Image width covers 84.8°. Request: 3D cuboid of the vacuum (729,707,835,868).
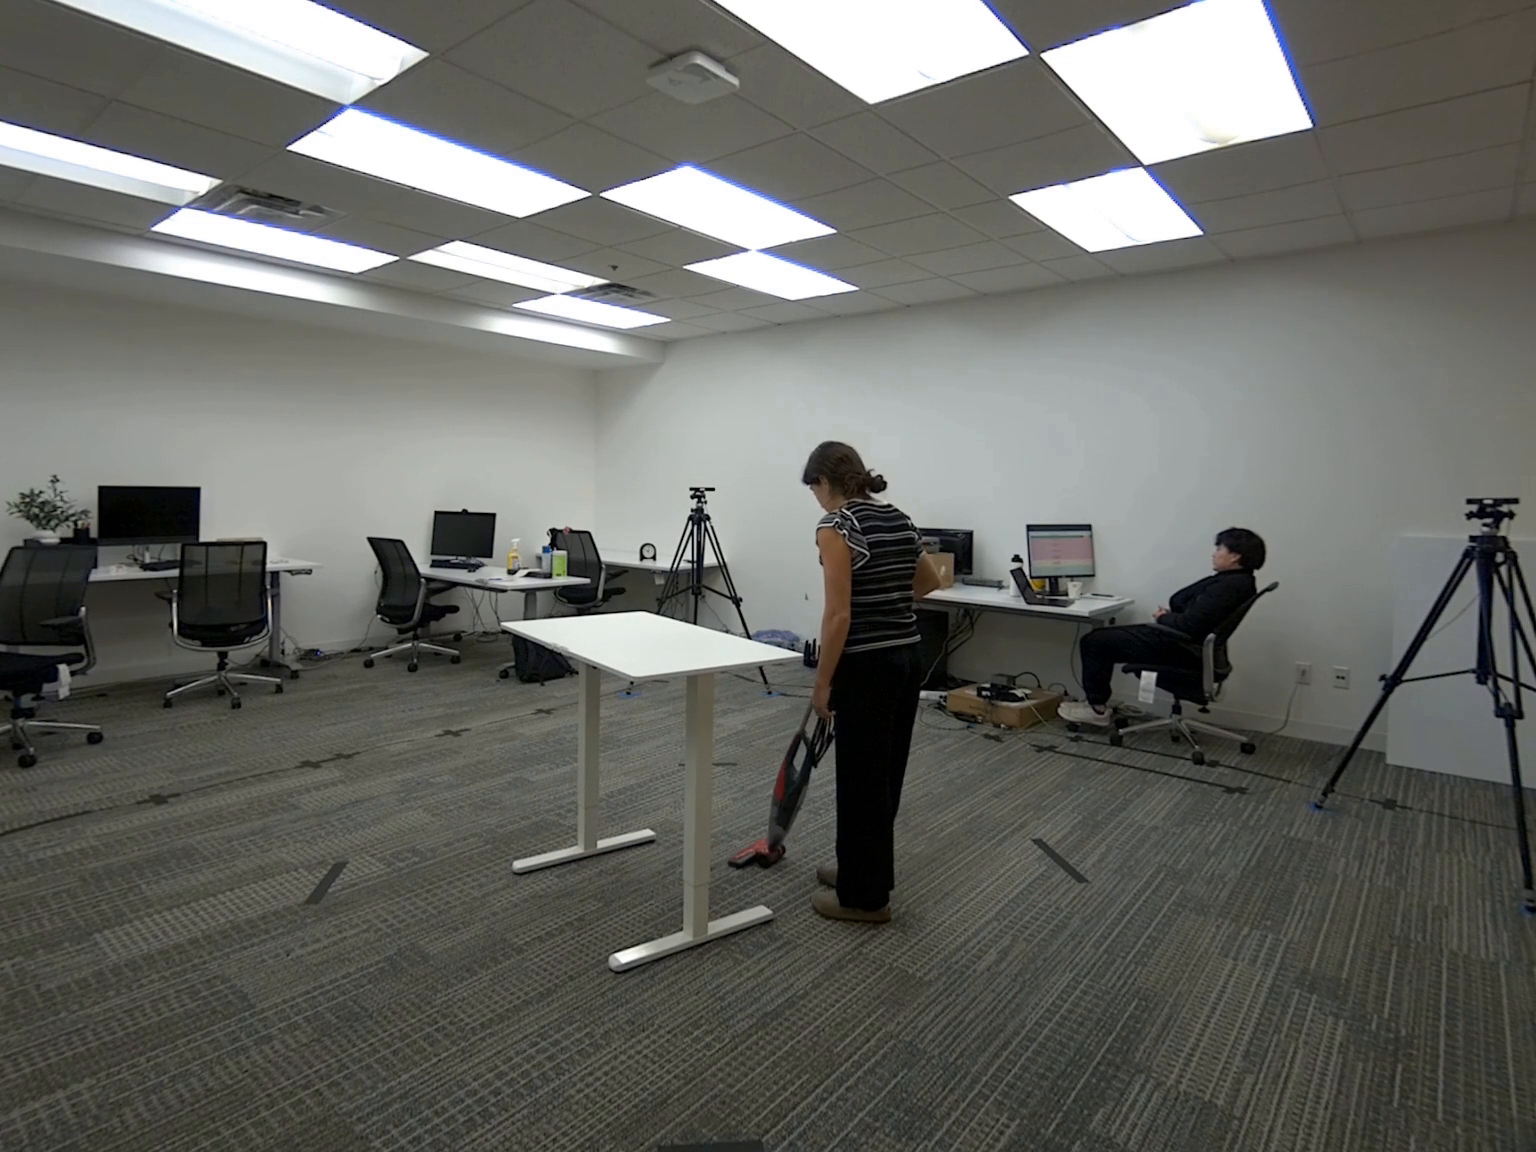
[{"bbox_3d":[0.140,0.590,3.080,0.149,1.041,0.245,28,16,28],"label":"vacuum"}]
